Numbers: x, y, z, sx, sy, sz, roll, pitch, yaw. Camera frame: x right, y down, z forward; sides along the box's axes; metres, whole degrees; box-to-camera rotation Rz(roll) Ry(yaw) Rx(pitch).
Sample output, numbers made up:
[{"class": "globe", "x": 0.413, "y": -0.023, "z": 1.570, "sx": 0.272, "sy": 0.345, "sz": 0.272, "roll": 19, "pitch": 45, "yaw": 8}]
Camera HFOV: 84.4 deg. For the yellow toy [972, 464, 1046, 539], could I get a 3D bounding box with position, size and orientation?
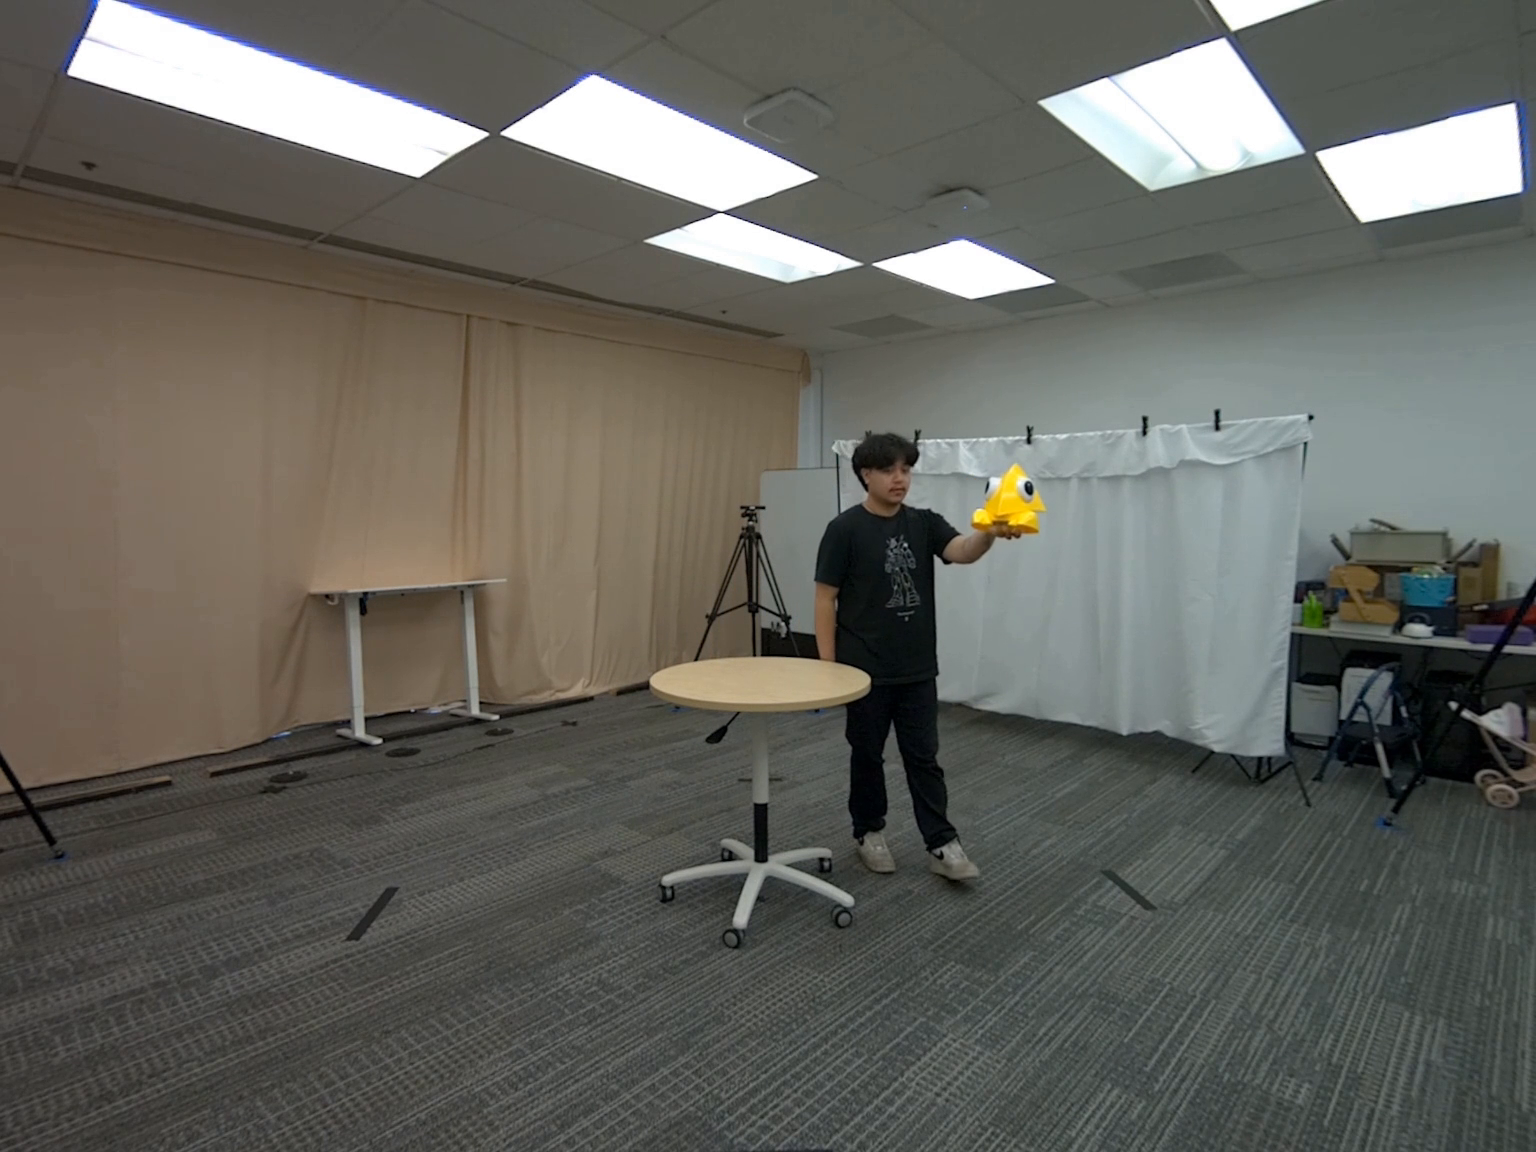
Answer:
[{"class": "yellow toy", "x": 0.773, "y": -0.262, "z": 2.683, "sx": 0.211, "sy": 0.231, "sz": 0.187, "roll": 5, "pitch": -7, "yaw": 31}]
